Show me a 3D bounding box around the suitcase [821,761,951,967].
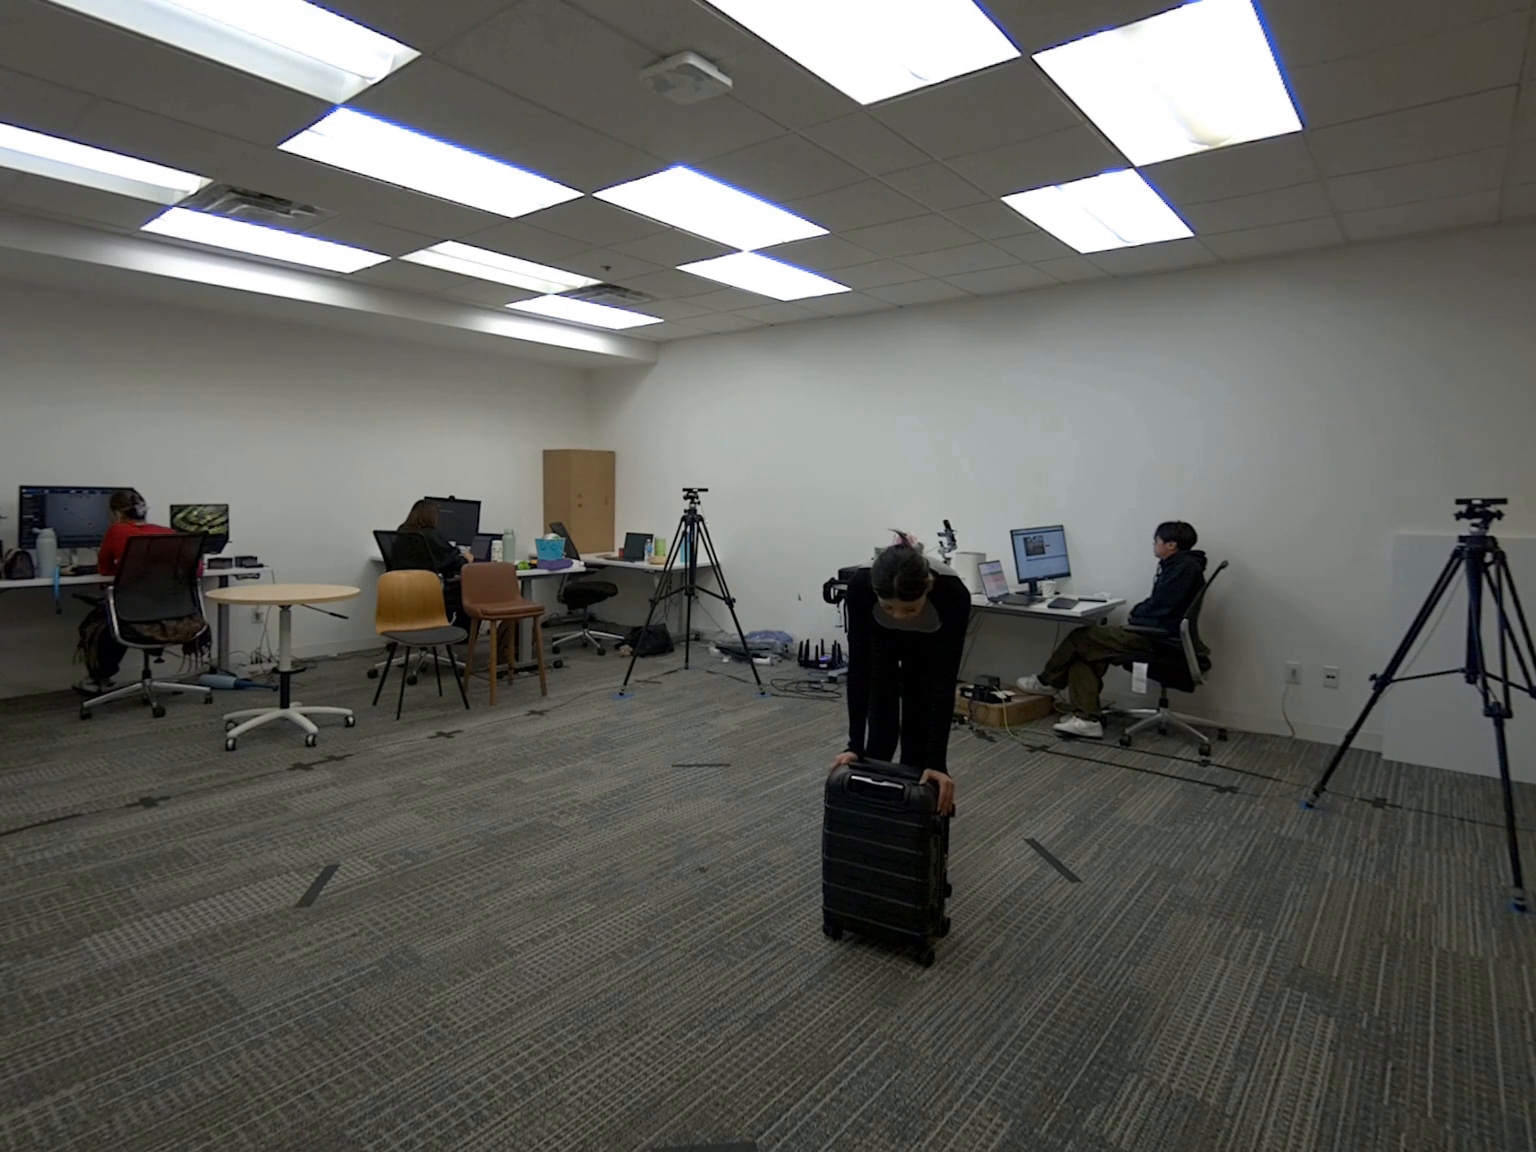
[{"bbox_3d":[0.361,0.857,2.650,0.386,0.547,0.242,2,5,29],"label":"suitcase"}]
